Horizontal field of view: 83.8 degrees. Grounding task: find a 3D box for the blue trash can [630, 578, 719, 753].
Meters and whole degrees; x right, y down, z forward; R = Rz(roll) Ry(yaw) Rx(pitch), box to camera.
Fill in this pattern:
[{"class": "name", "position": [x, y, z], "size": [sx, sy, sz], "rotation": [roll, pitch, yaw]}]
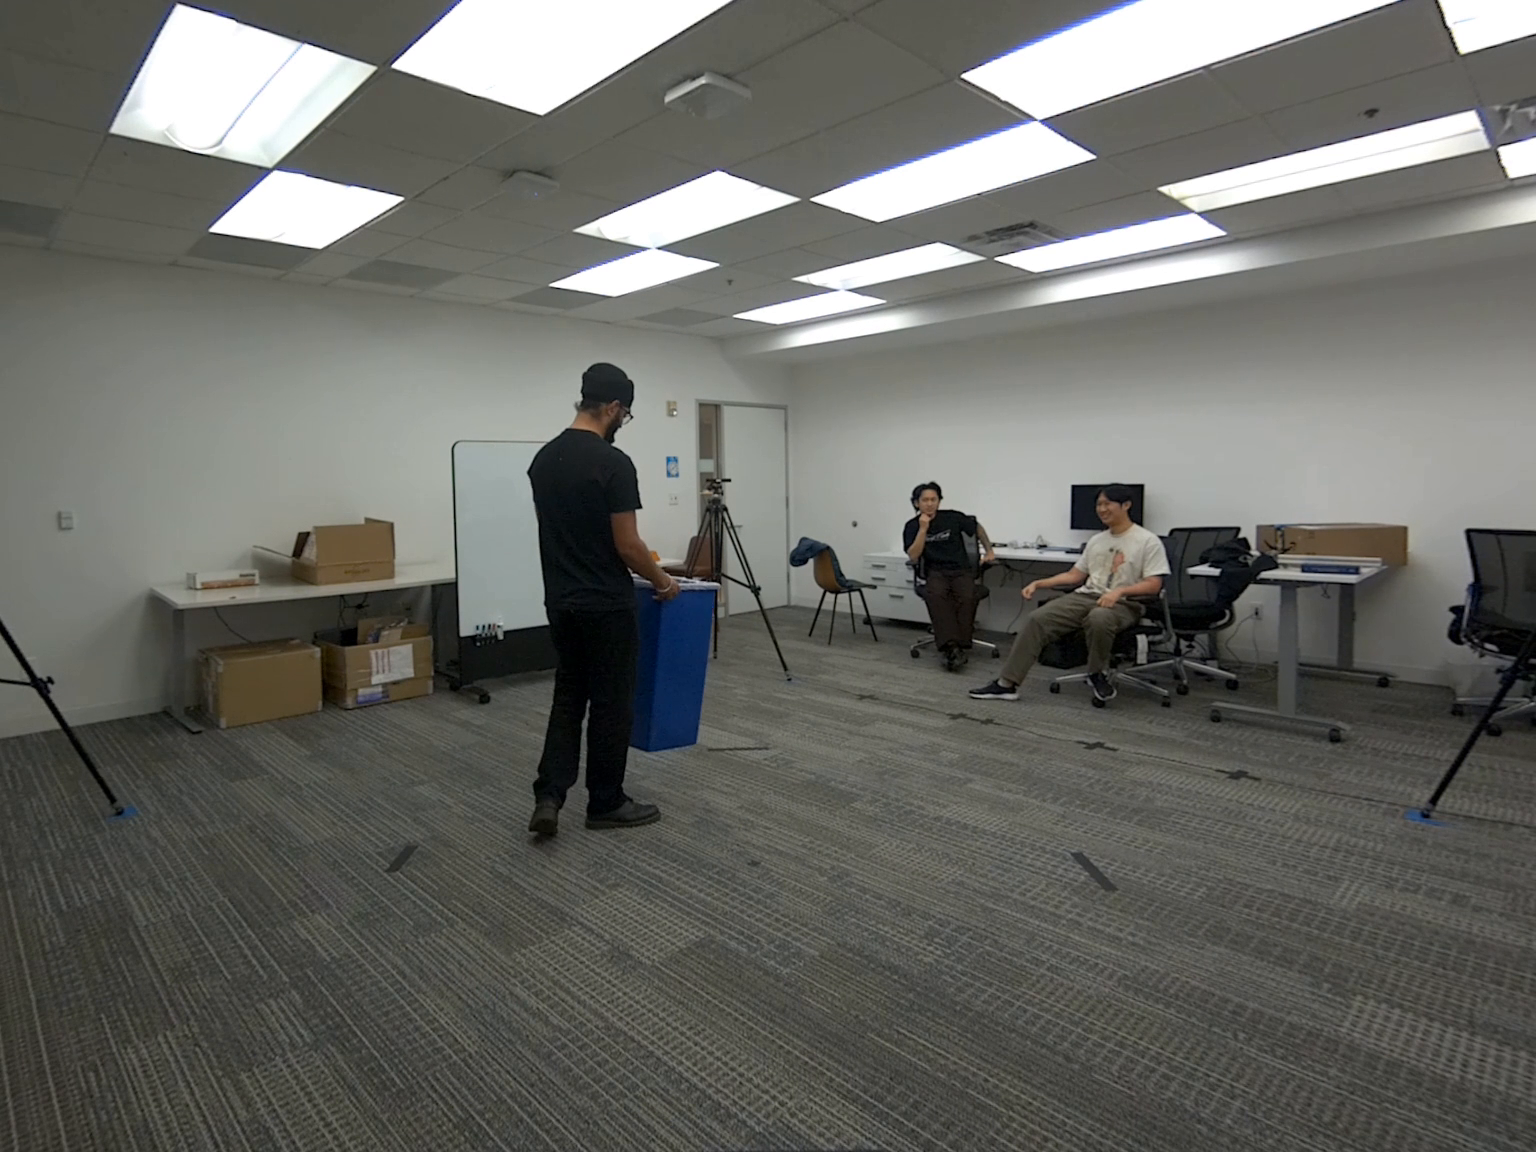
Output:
[{"class": "blue trash can", "position": [-0.486, 0.372, 3.757], "size": [0.390, 0.713, 0.362], "rotation": [6, 1, 39]}]
